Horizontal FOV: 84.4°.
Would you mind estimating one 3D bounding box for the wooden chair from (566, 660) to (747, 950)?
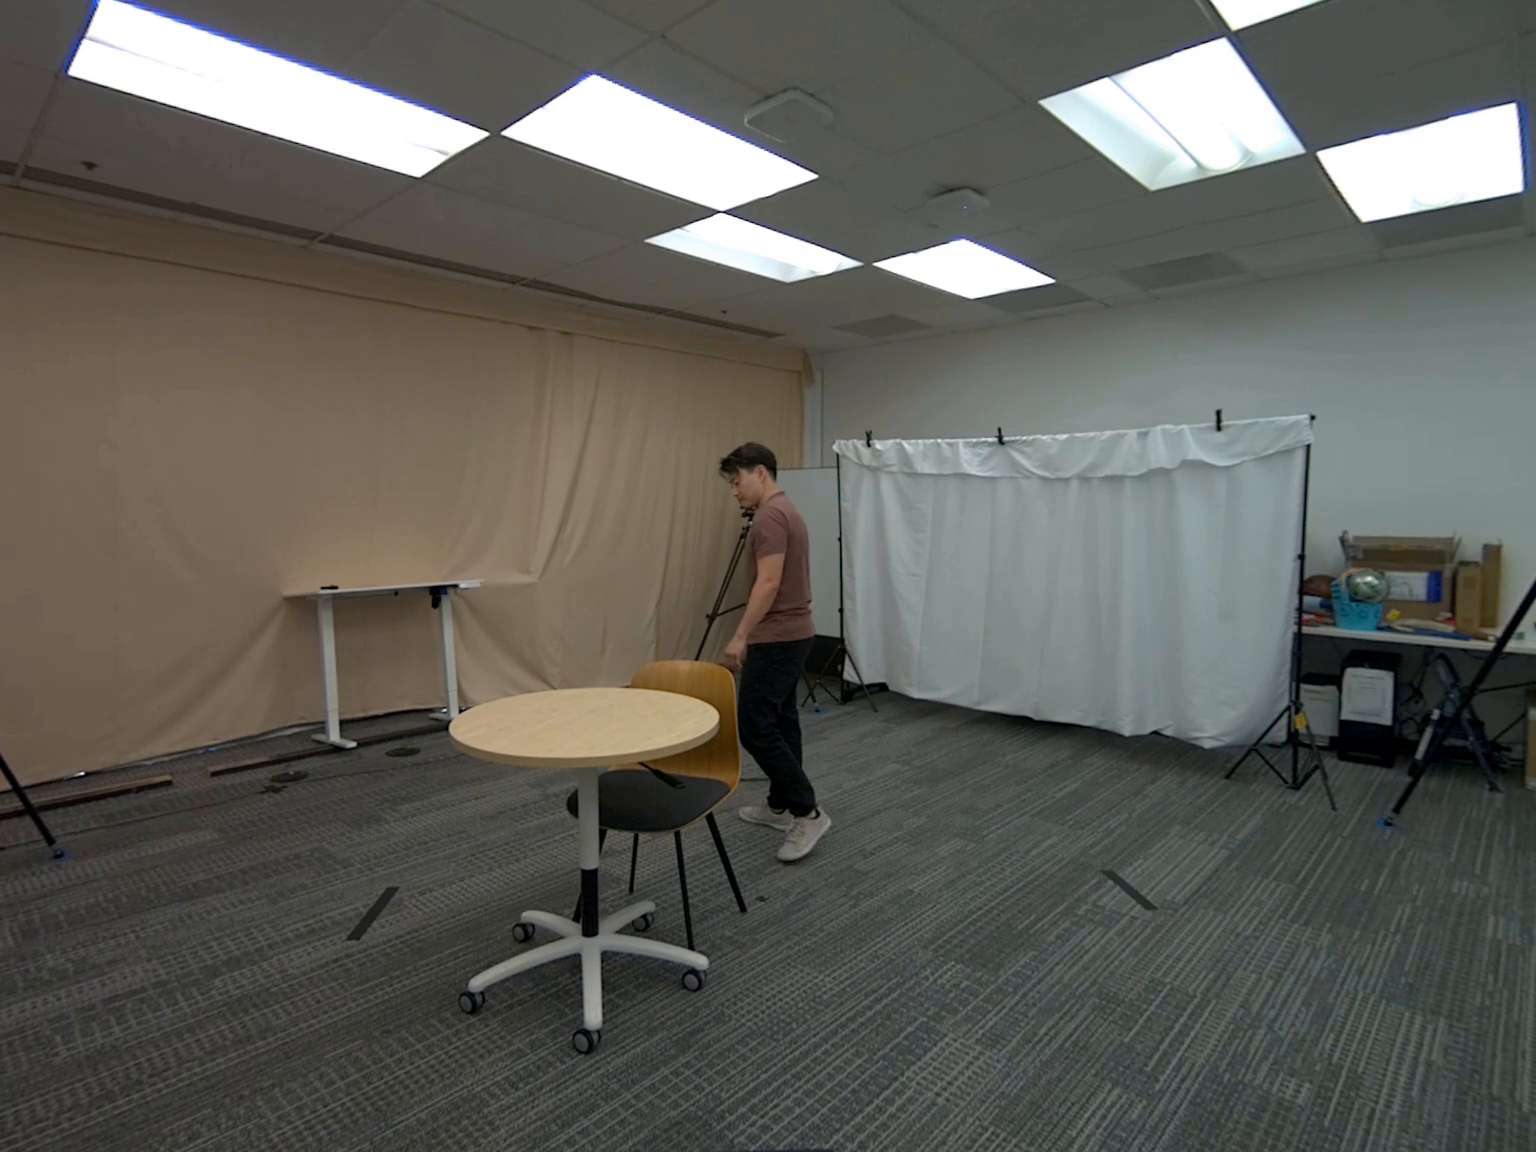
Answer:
[{"bbox_3d":[-0.352,0.743,2.726,0.489,0.877,0.512,1,0,20],"label":"wooden chair"}]
